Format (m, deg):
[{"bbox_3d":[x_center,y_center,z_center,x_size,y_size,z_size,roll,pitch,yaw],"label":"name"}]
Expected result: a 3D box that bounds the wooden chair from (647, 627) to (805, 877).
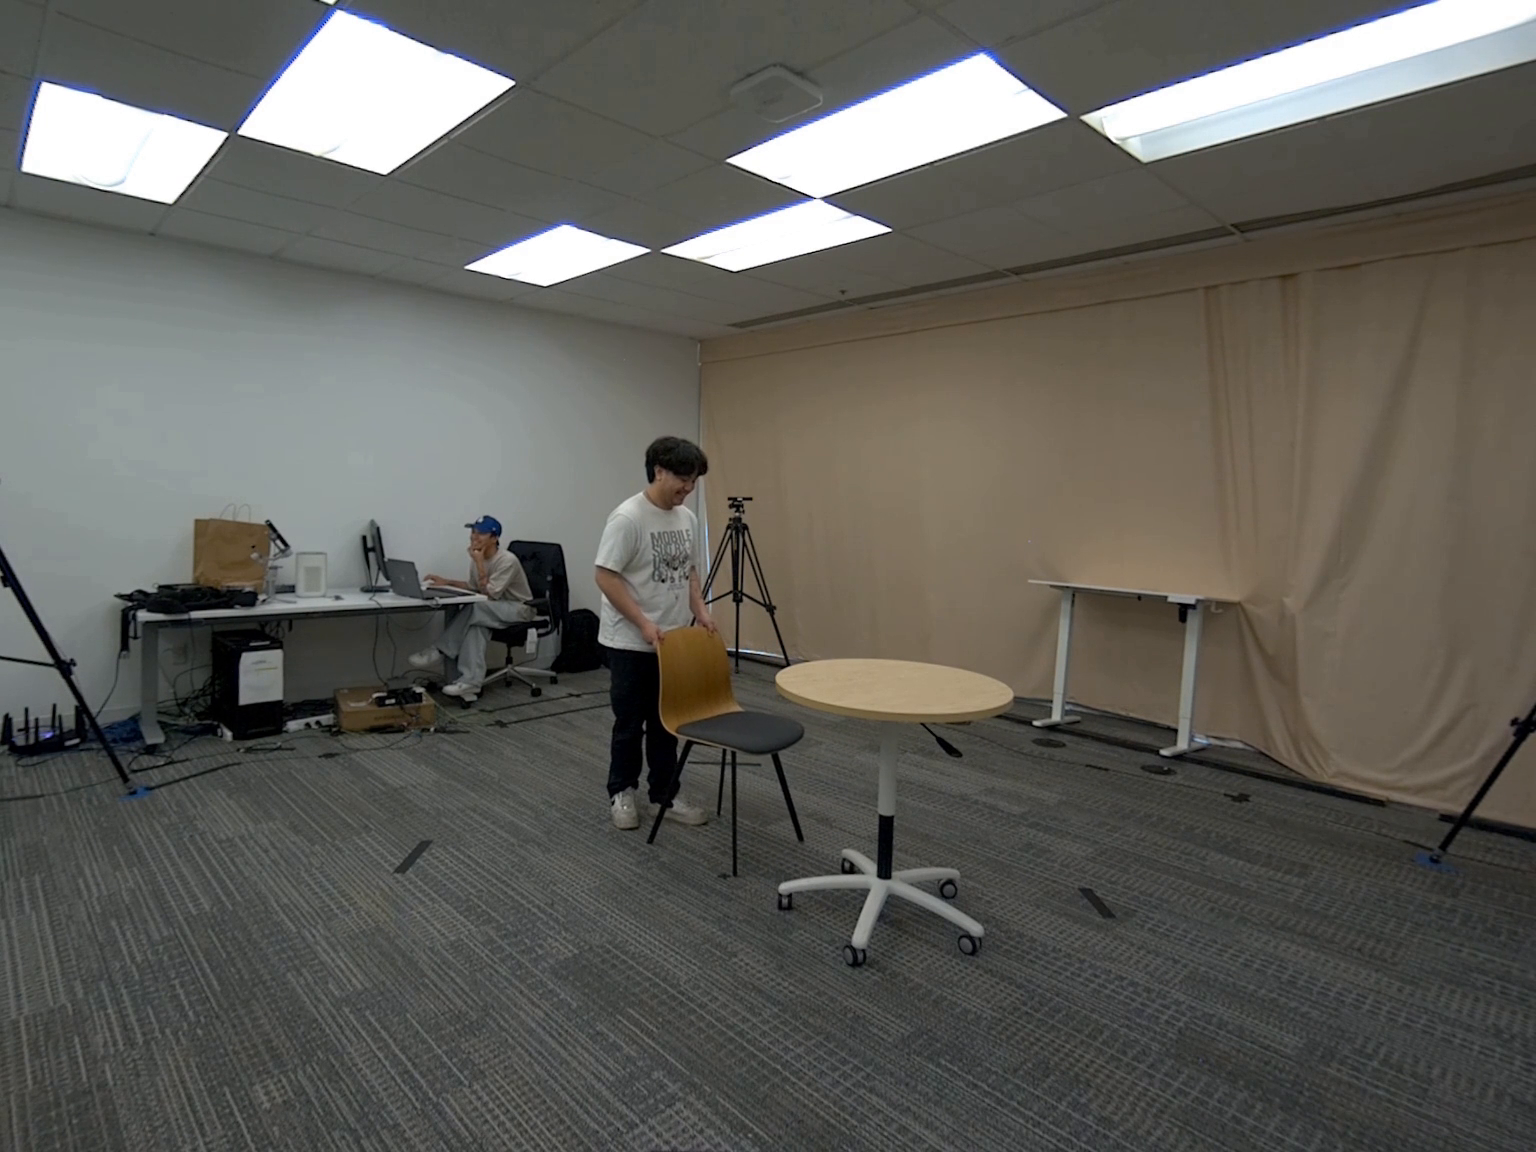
[{"bbox_3d":[-0.160,0.654,3.376,0.535,0.878,0.467,-2,0,38],"label":"wooden chair"}]
